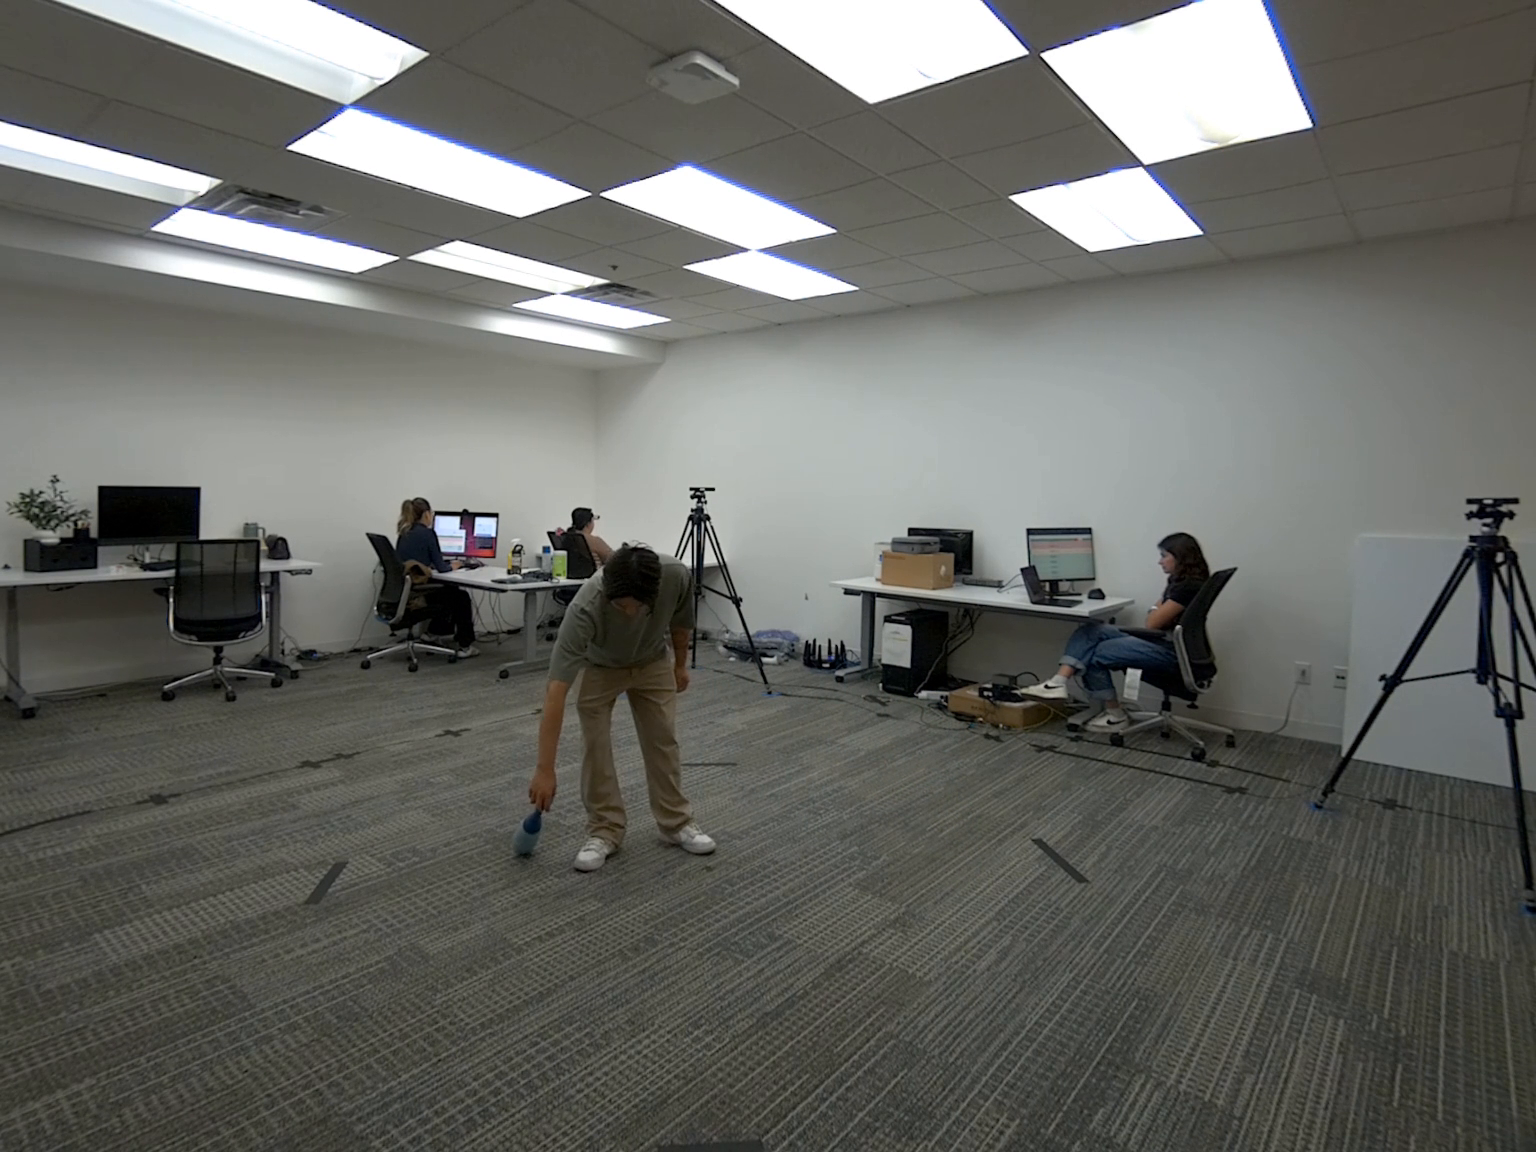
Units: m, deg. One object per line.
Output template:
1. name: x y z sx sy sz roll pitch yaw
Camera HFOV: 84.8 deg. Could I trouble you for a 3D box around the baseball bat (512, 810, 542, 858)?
1. baseball bat: -0.846 0.878 3.019 0.087 0.092 0.536 1 -31 -19
